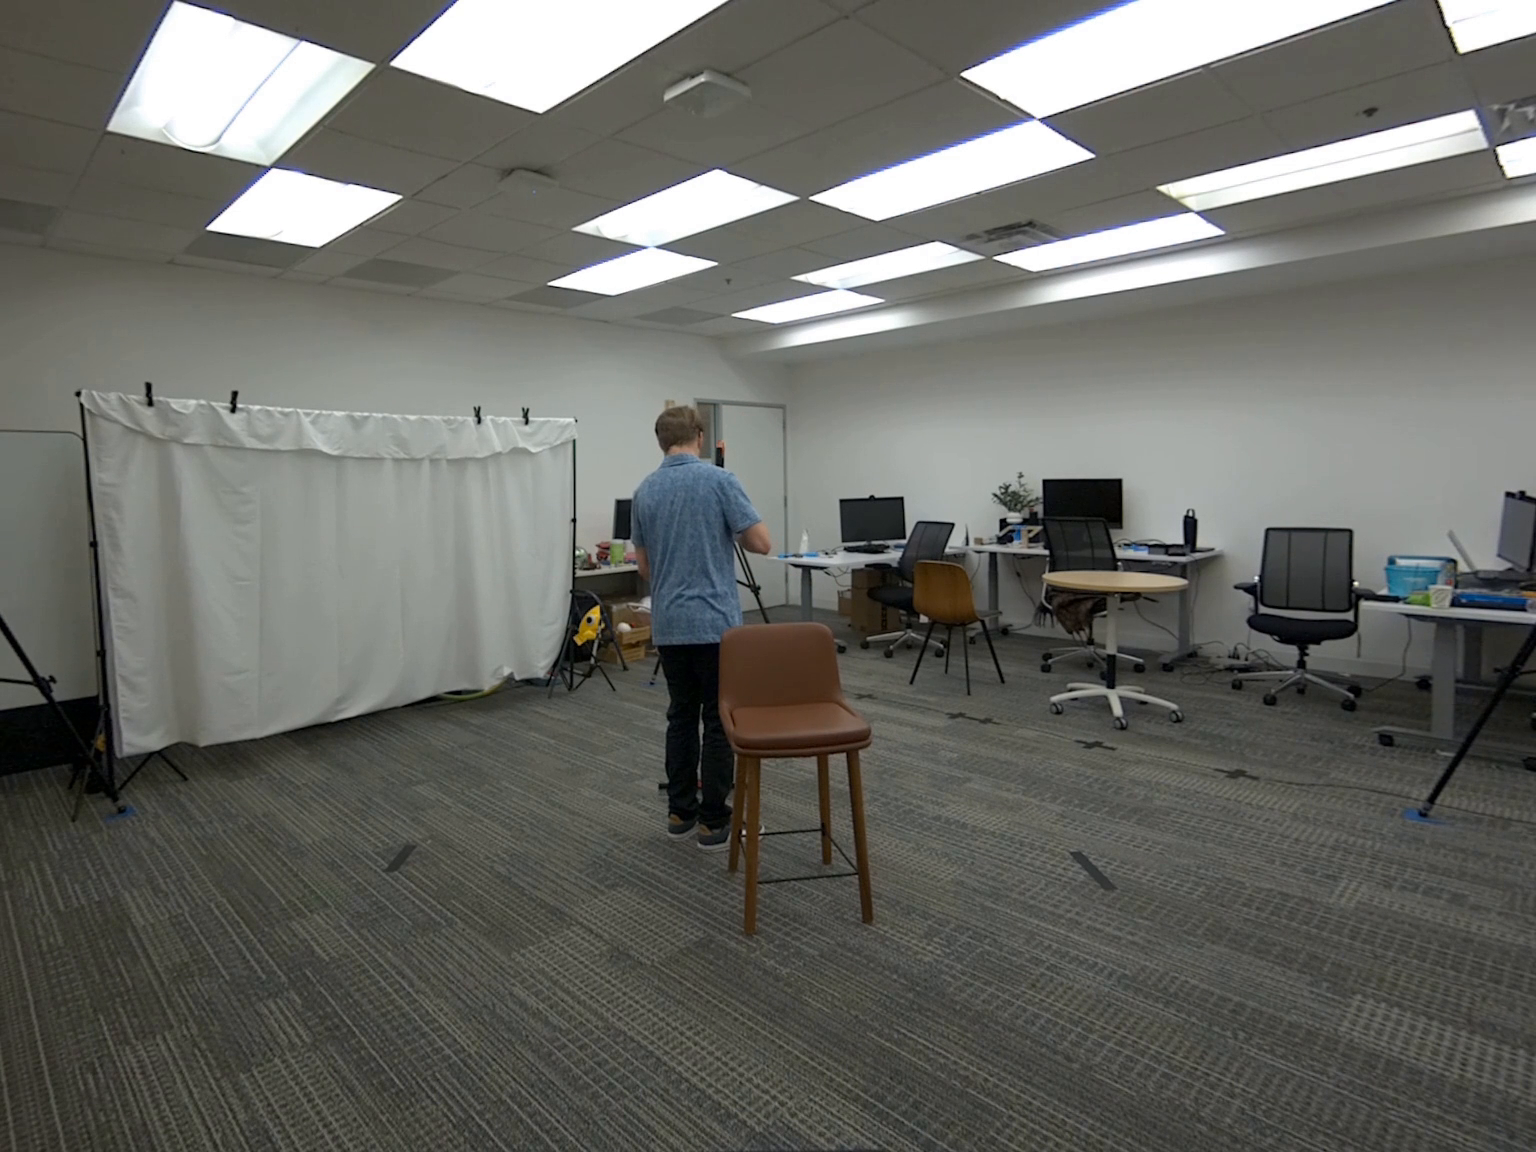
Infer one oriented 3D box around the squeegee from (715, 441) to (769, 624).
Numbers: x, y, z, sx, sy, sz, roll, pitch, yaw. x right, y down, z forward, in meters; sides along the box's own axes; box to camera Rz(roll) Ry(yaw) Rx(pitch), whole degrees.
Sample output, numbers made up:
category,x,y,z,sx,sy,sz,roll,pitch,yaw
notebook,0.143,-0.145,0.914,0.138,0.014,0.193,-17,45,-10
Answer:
category,x,y,z,sx,sy,sz,roll,pitch,yaw
squeegee,-0.226,0.222,3.613,0.436,1.525,0.053,3,9,-4
